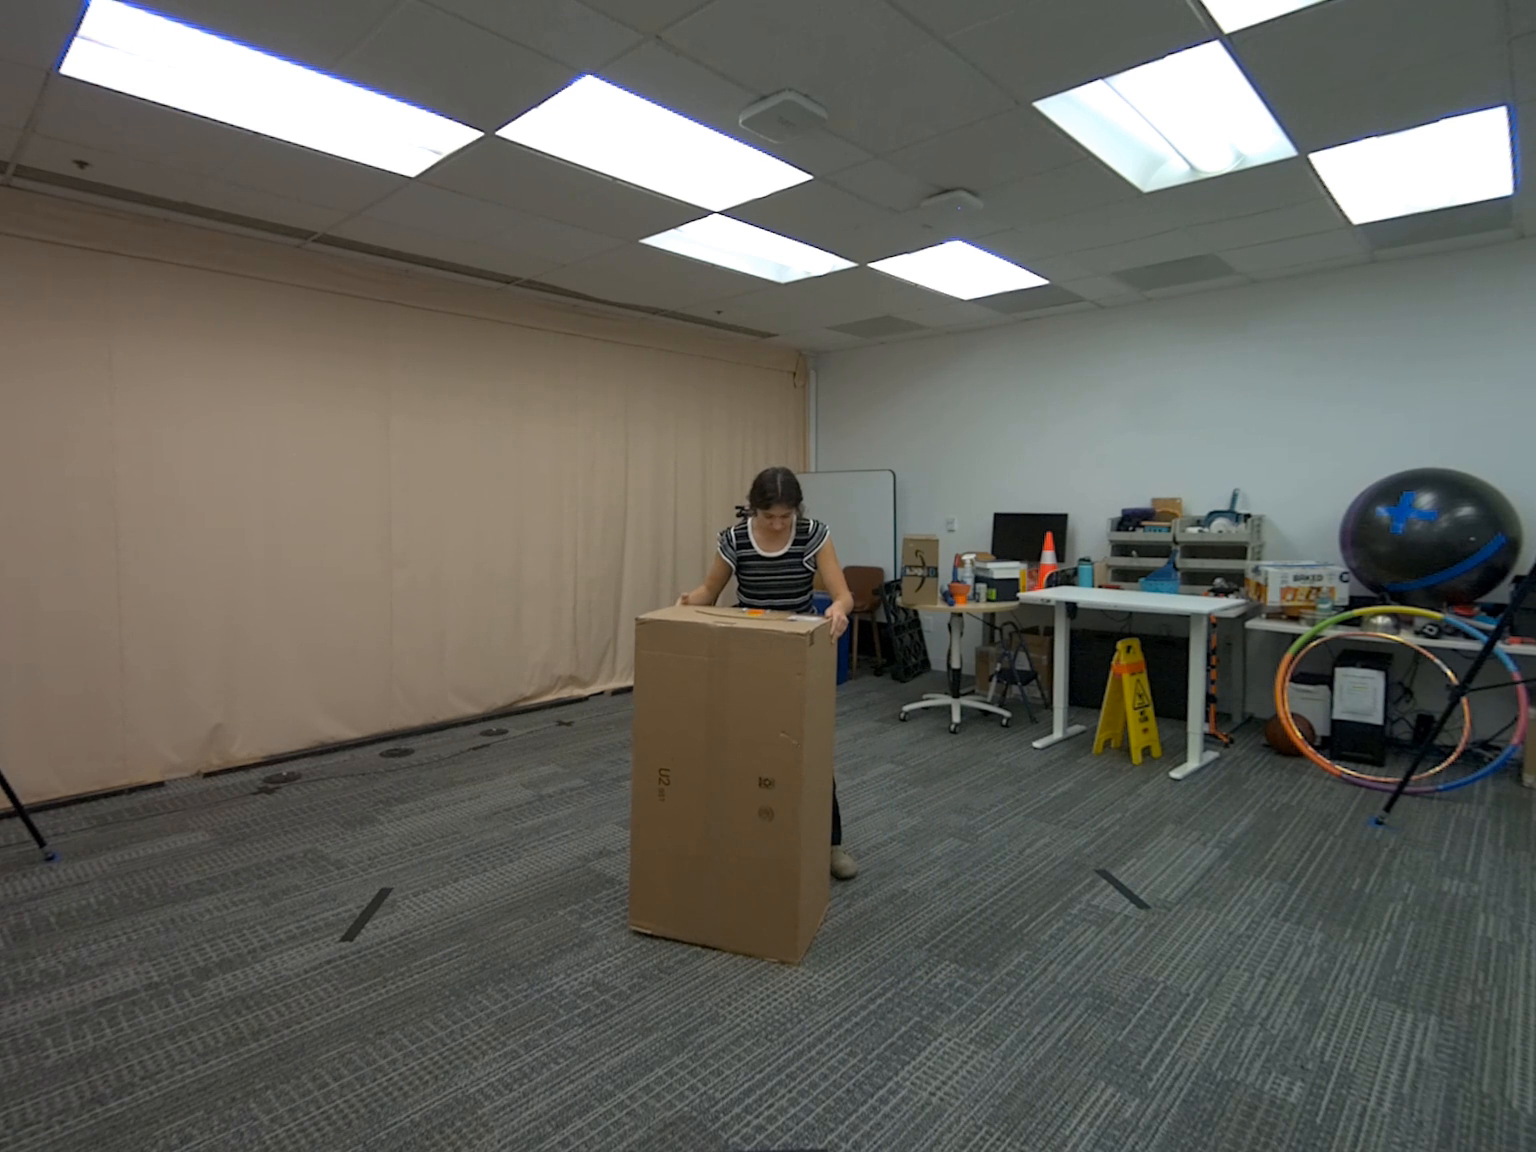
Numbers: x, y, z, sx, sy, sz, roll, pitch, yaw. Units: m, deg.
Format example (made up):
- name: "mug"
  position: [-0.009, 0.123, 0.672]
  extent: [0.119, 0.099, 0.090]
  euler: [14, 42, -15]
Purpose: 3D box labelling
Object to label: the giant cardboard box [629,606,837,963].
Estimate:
- name: "giant cardboard box"
  position: [-0.108, 0.647, 2.814]
  extent: [0.590, 1.024, 0.418]
  euler: [3, 3, 19]
